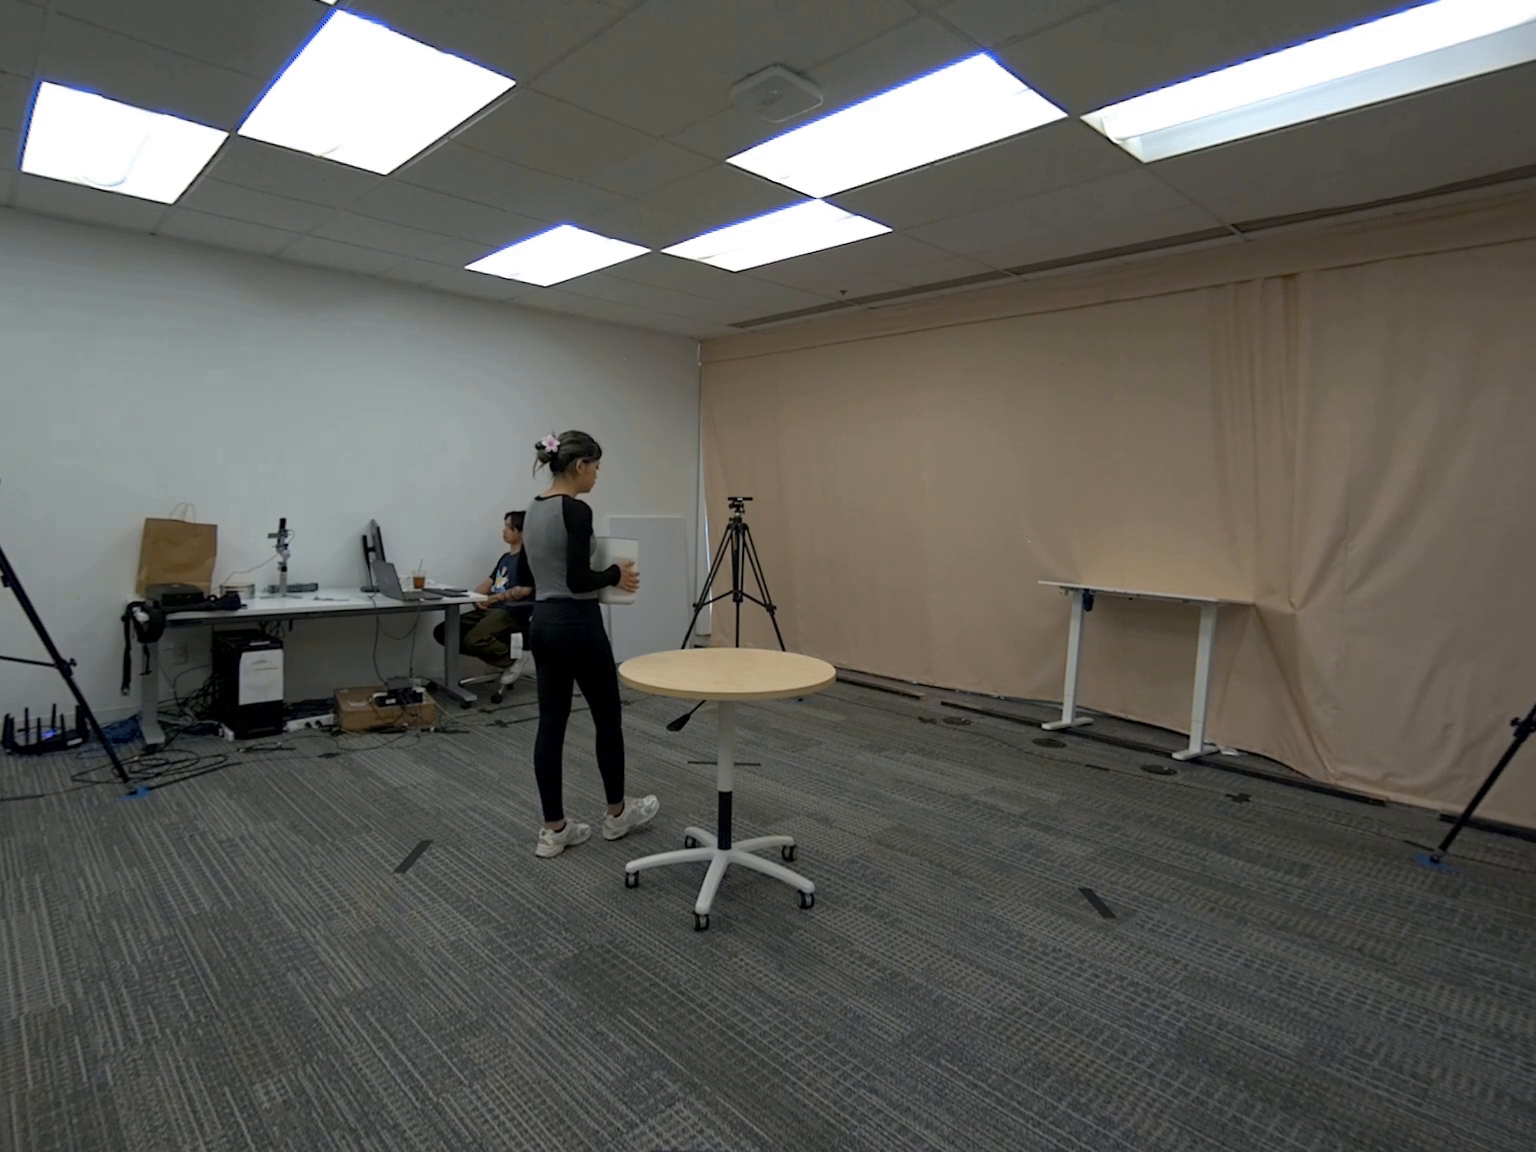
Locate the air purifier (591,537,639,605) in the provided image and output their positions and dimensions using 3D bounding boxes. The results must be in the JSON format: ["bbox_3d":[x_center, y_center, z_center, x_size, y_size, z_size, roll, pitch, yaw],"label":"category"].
[{"bbox_3d":[-0.626,-0.020,3.400,0.167,0.266,0.175,4,-4,-36],"label":"air purifier"}]
